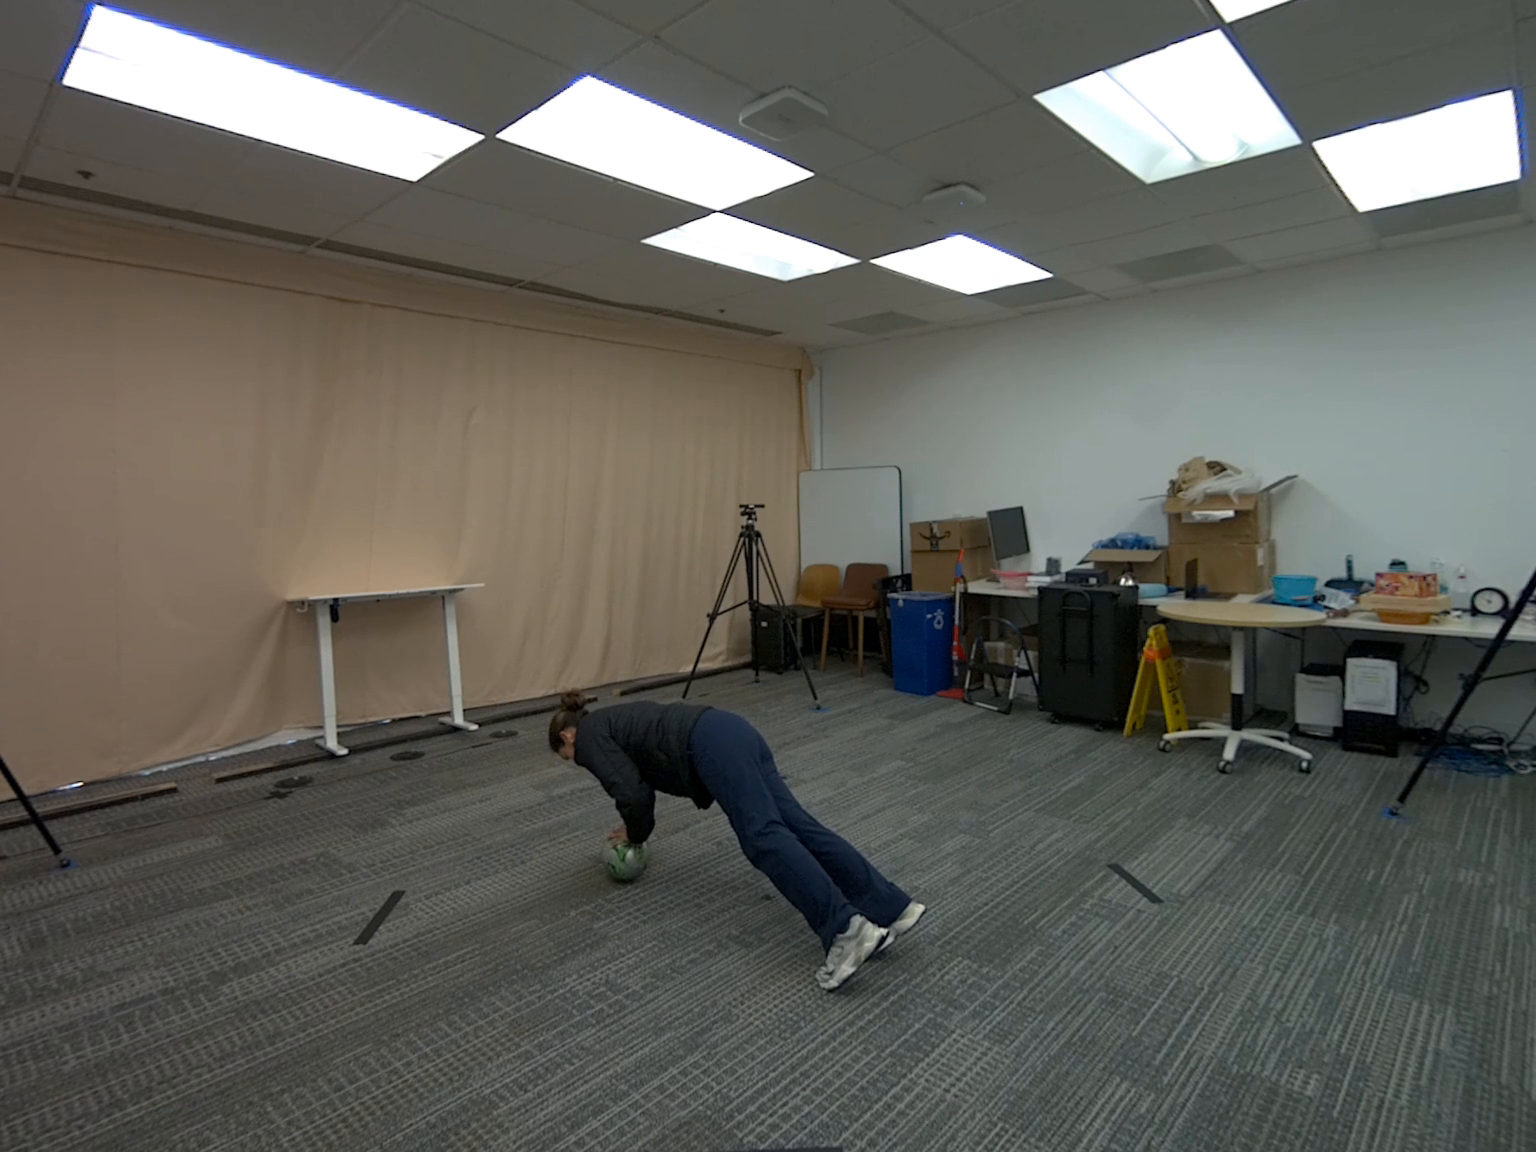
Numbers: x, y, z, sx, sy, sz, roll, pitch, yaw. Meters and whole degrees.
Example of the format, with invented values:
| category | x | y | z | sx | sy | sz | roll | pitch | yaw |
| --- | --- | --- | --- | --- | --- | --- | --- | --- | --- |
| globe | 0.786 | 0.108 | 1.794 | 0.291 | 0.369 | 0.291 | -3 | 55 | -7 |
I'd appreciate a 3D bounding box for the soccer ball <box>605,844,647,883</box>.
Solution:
| category | x | y | z | sx | sy | sz | roll | pitch | yaw |
| --- | --- | --- | --- | --- | --- | --- | --- | --- | --- |
| soccer ball | -0.526 | 1.040 | 3.148 | 0.187 | 0.187 | 0.188 | -1 | 4 | -2 |
